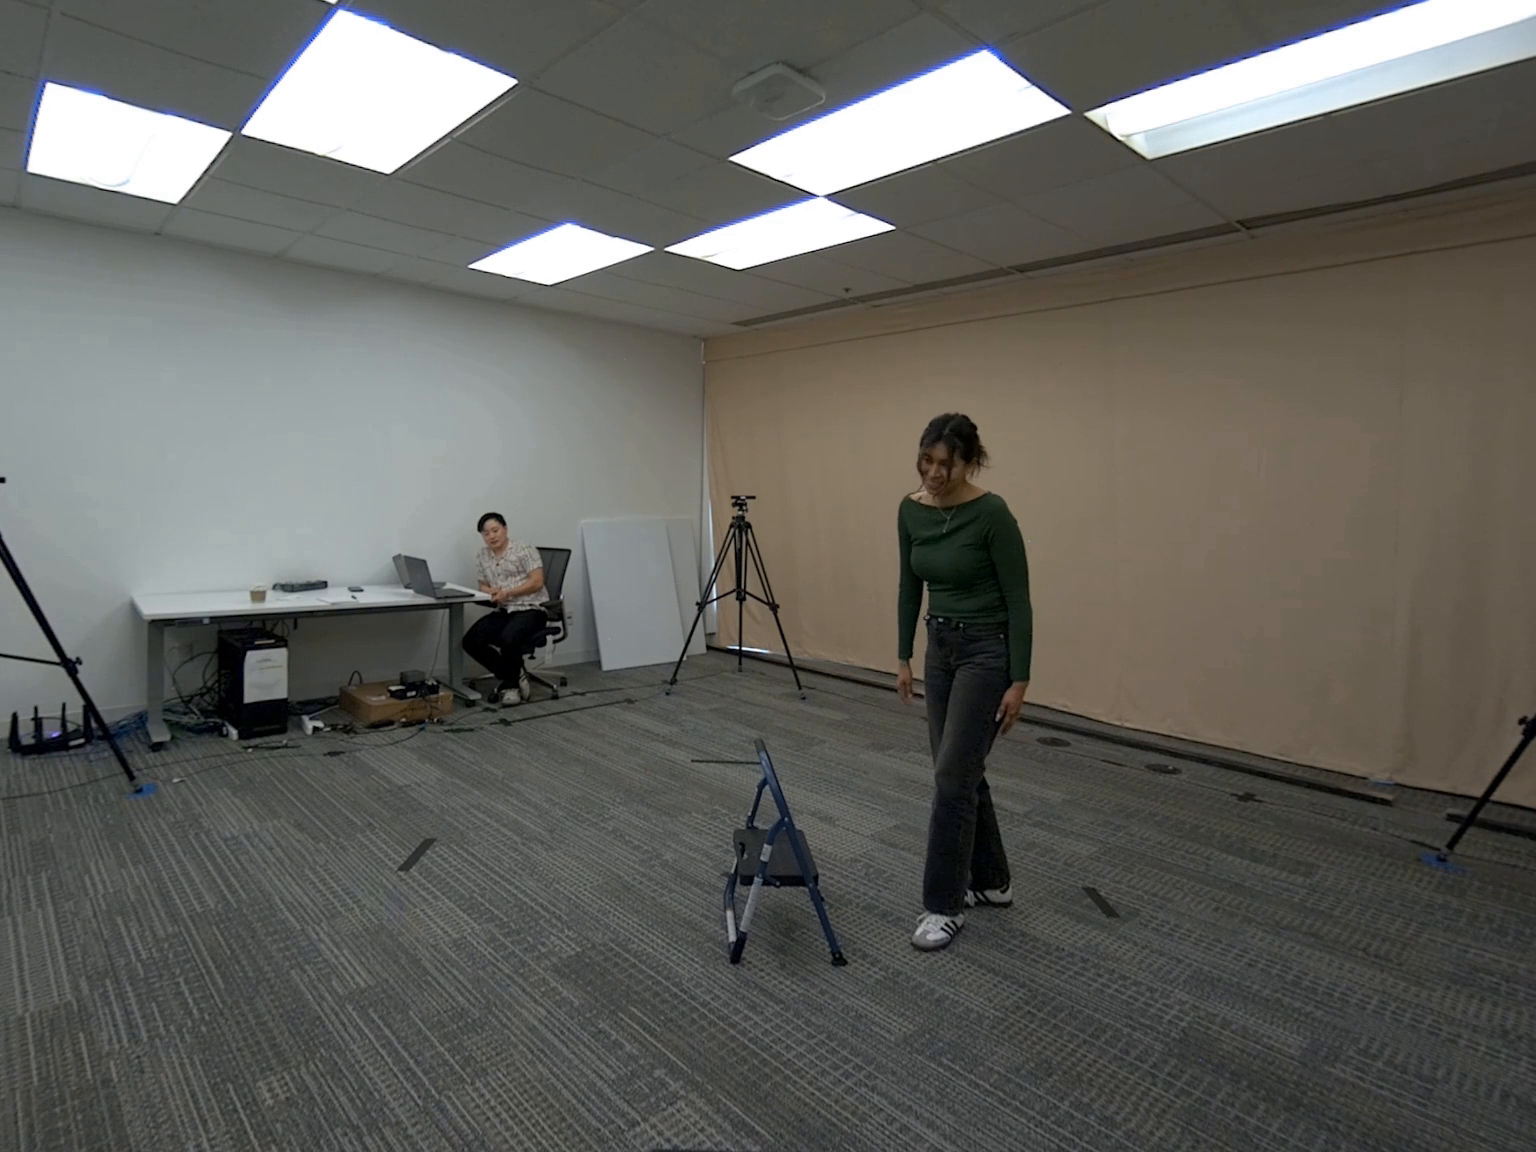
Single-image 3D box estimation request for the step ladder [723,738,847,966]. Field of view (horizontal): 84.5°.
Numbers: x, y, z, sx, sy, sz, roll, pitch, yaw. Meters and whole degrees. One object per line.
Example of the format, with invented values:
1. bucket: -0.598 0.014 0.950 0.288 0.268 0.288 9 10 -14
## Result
1. step ladder: 0.039 0.849 2.695 0.347 0.605 0.434 1 3 -7
